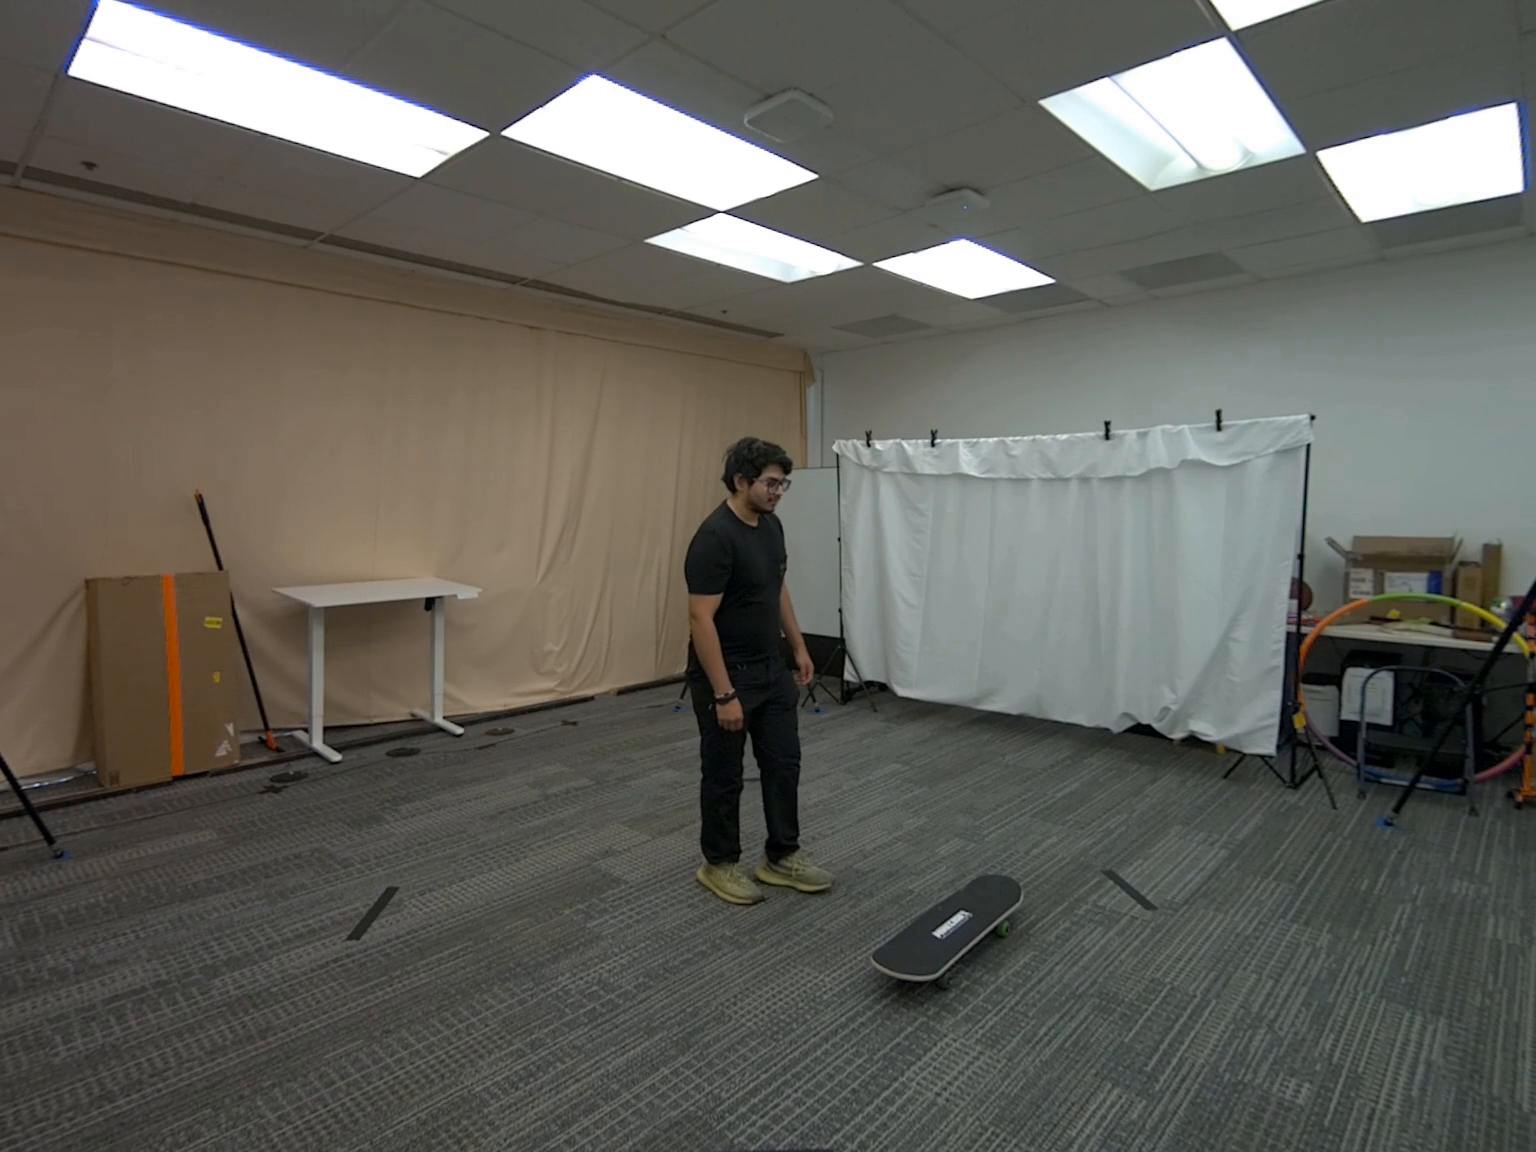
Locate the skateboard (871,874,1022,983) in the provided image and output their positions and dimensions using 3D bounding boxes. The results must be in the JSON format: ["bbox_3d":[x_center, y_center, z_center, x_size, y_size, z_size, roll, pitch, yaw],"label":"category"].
[{"bbox_3d":[0.585,1.122,2.616,0.200,0.110,0.762,4,7,40],"label":"skateboard"}]
